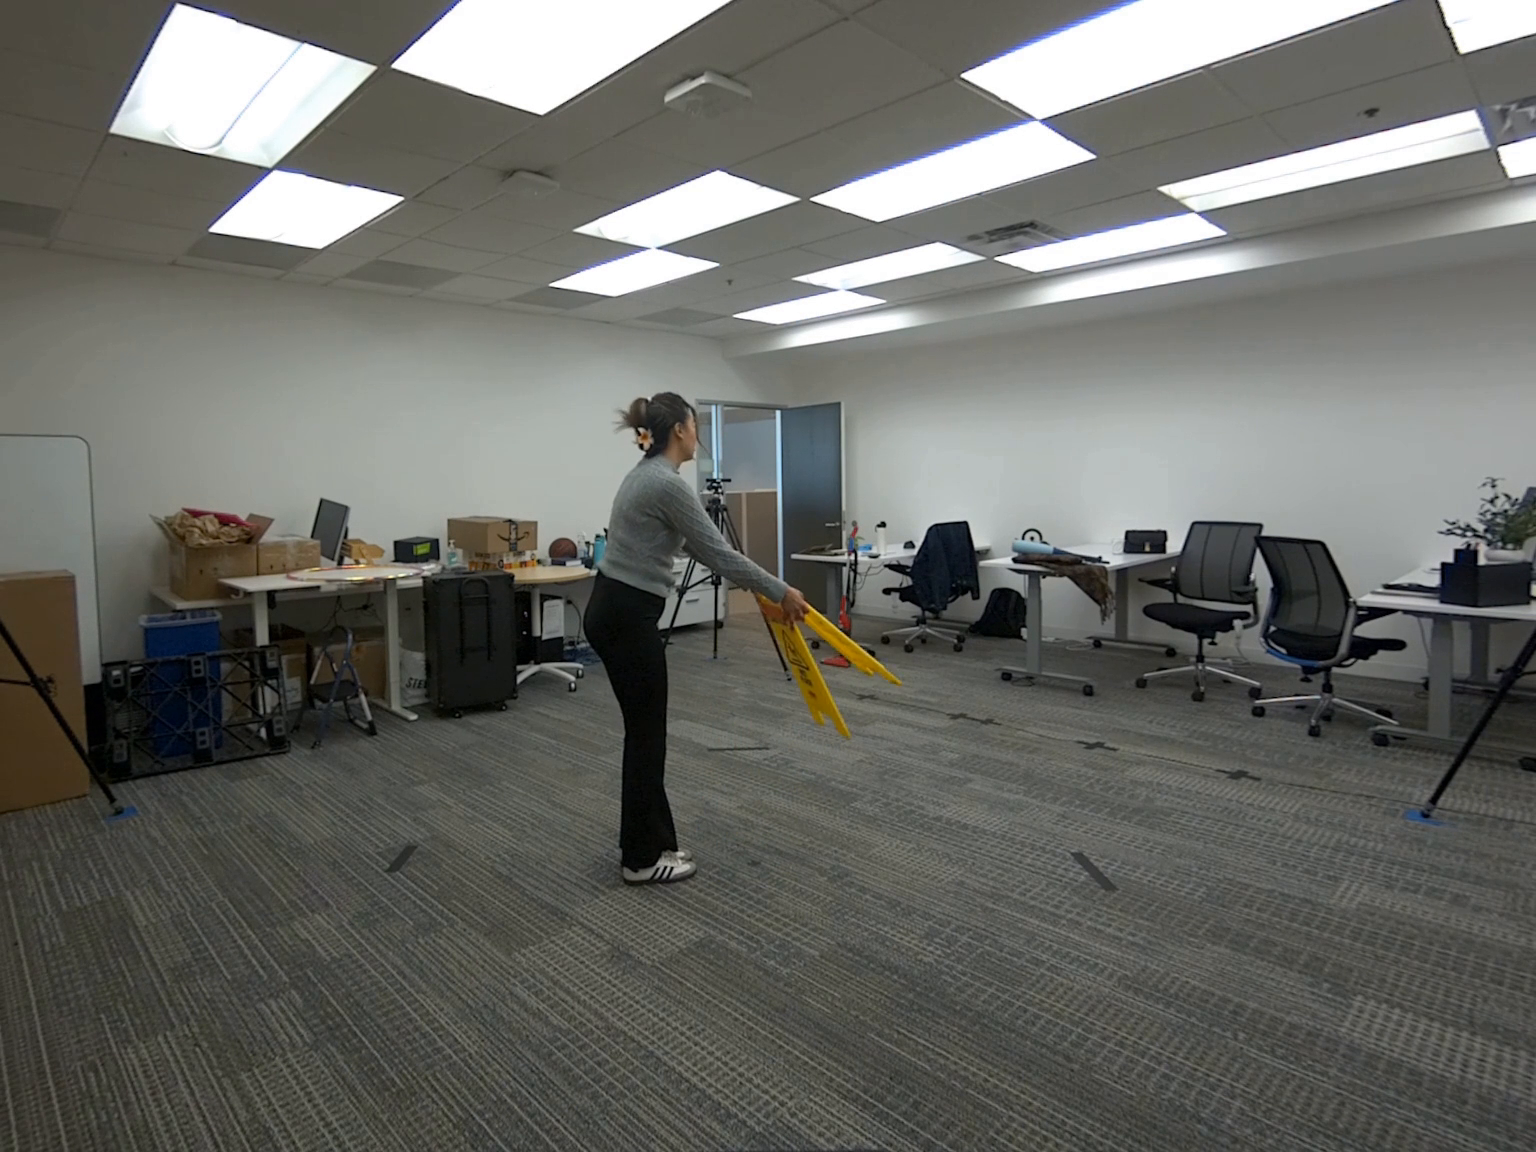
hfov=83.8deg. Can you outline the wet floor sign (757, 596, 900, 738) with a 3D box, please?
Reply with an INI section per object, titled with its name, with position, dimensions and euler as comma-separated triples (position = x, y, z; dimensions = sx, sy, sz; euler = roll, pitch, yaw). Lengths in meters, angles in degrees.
[wet floor sign]
position = 0.163, 0.248, 3.205
dimensions = 0.289, 0.634, 0.288
euler = -41, 16, -15
